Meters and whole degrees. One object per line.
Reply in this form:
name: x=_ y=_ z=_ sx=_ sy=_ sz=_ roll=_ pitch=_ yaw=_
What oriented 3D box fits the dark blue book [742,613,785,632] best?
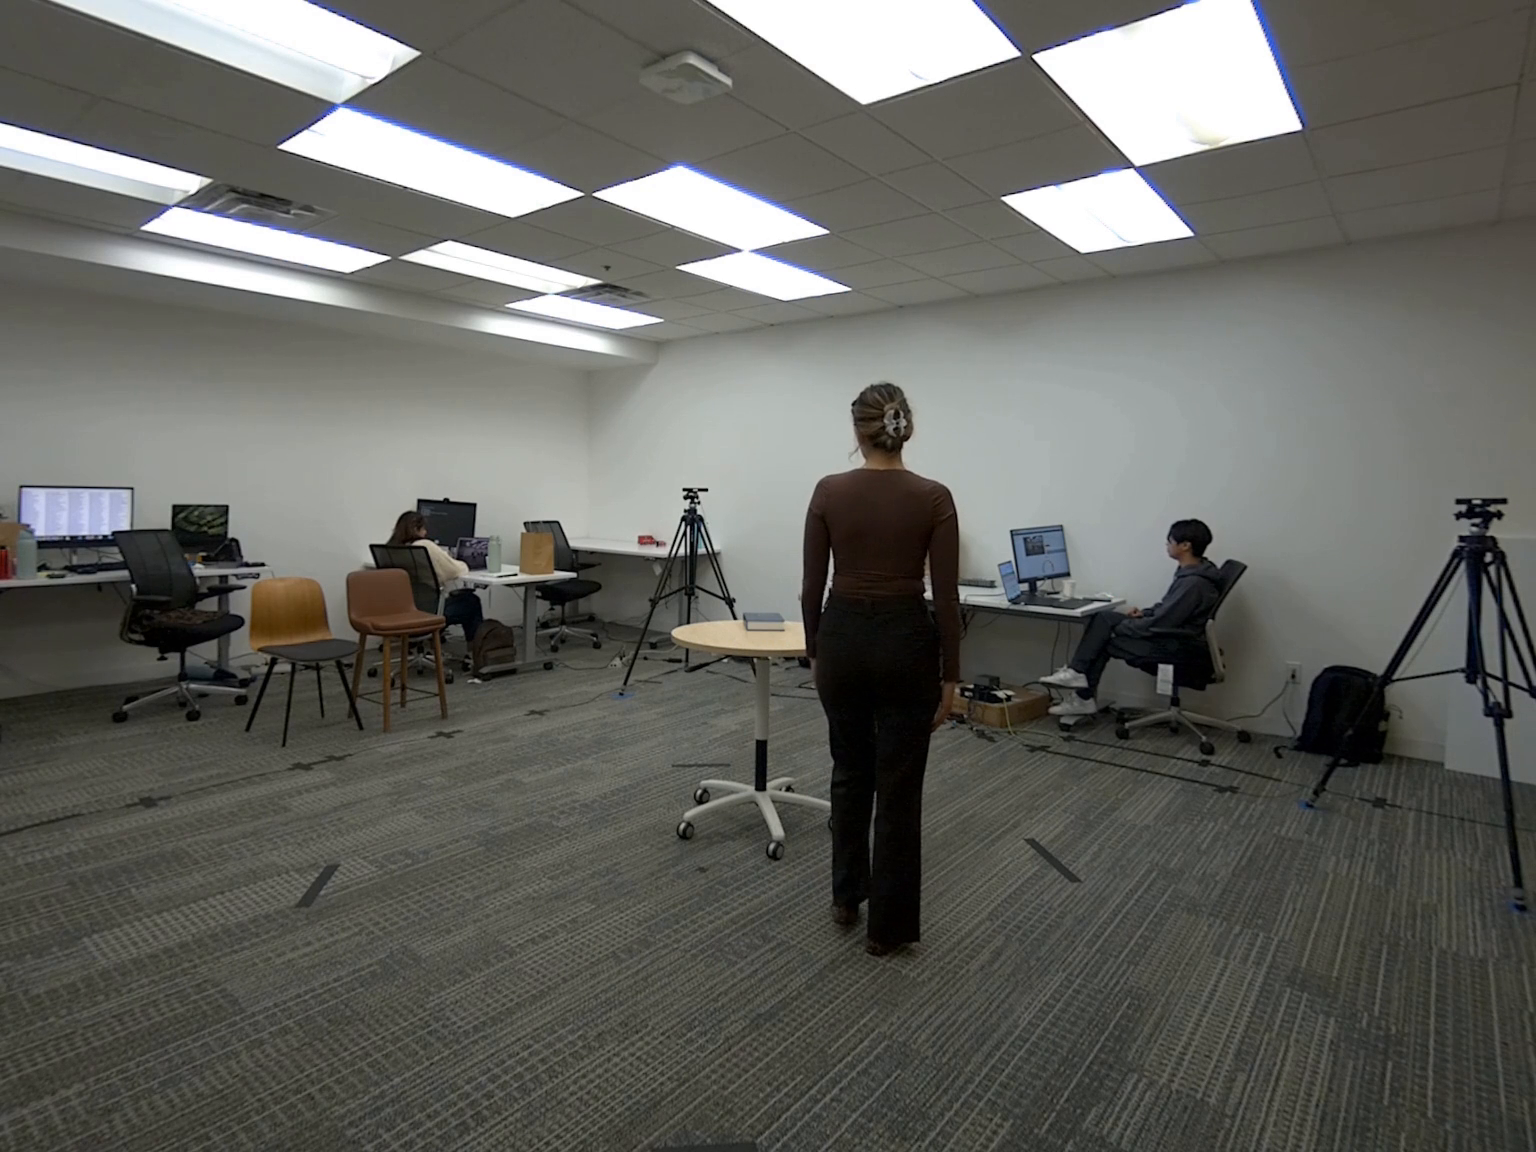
dark blue book: x=-0.033 y=0.194 z=3.728 sx=0.163 sy=0.045 sz=0.247 roll=1 pitch=6 yaw=-6
